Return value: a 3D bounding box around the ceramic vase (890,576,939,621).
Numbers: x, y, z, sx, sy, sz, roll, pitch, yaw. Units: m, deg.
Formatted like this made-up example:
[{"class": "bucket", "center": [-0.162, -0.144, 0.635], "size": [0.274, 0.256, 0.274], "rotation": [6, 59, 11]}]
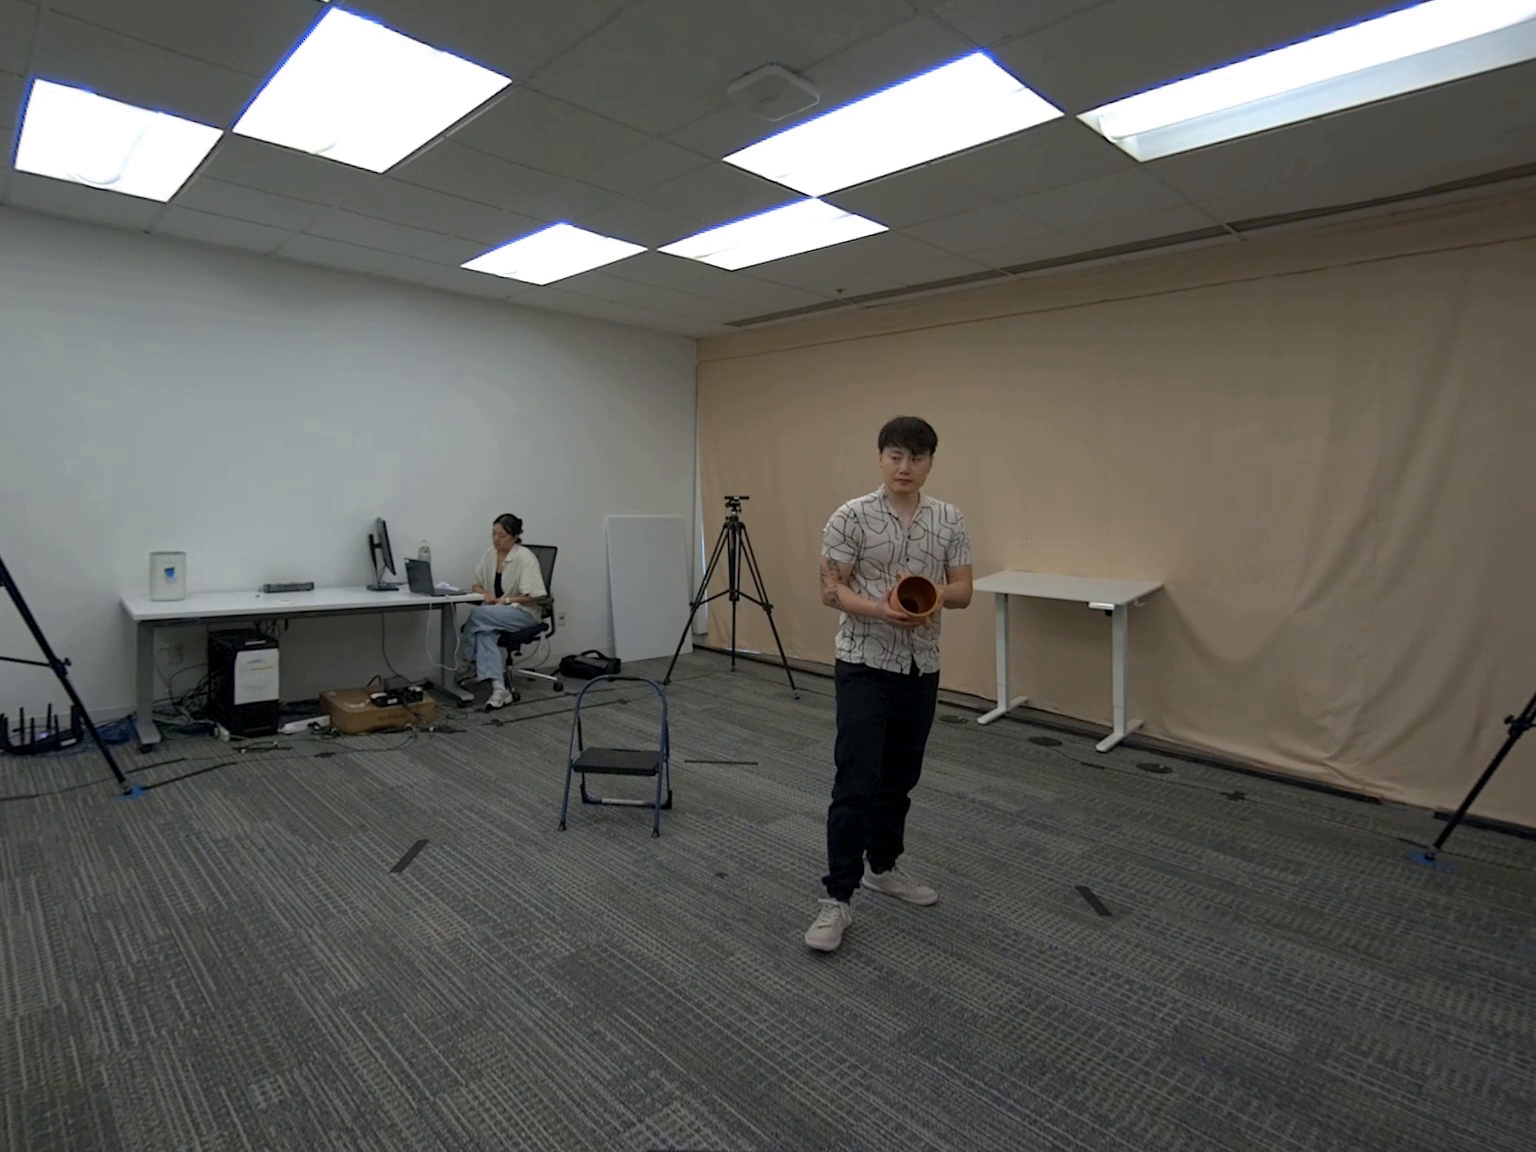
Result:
[{"class": "ceramic vase", "center": [0.426, 0.092, 2.617], "size": [0.135, 0.160, 0.216], "rotation": [12, -18, 5]}]
